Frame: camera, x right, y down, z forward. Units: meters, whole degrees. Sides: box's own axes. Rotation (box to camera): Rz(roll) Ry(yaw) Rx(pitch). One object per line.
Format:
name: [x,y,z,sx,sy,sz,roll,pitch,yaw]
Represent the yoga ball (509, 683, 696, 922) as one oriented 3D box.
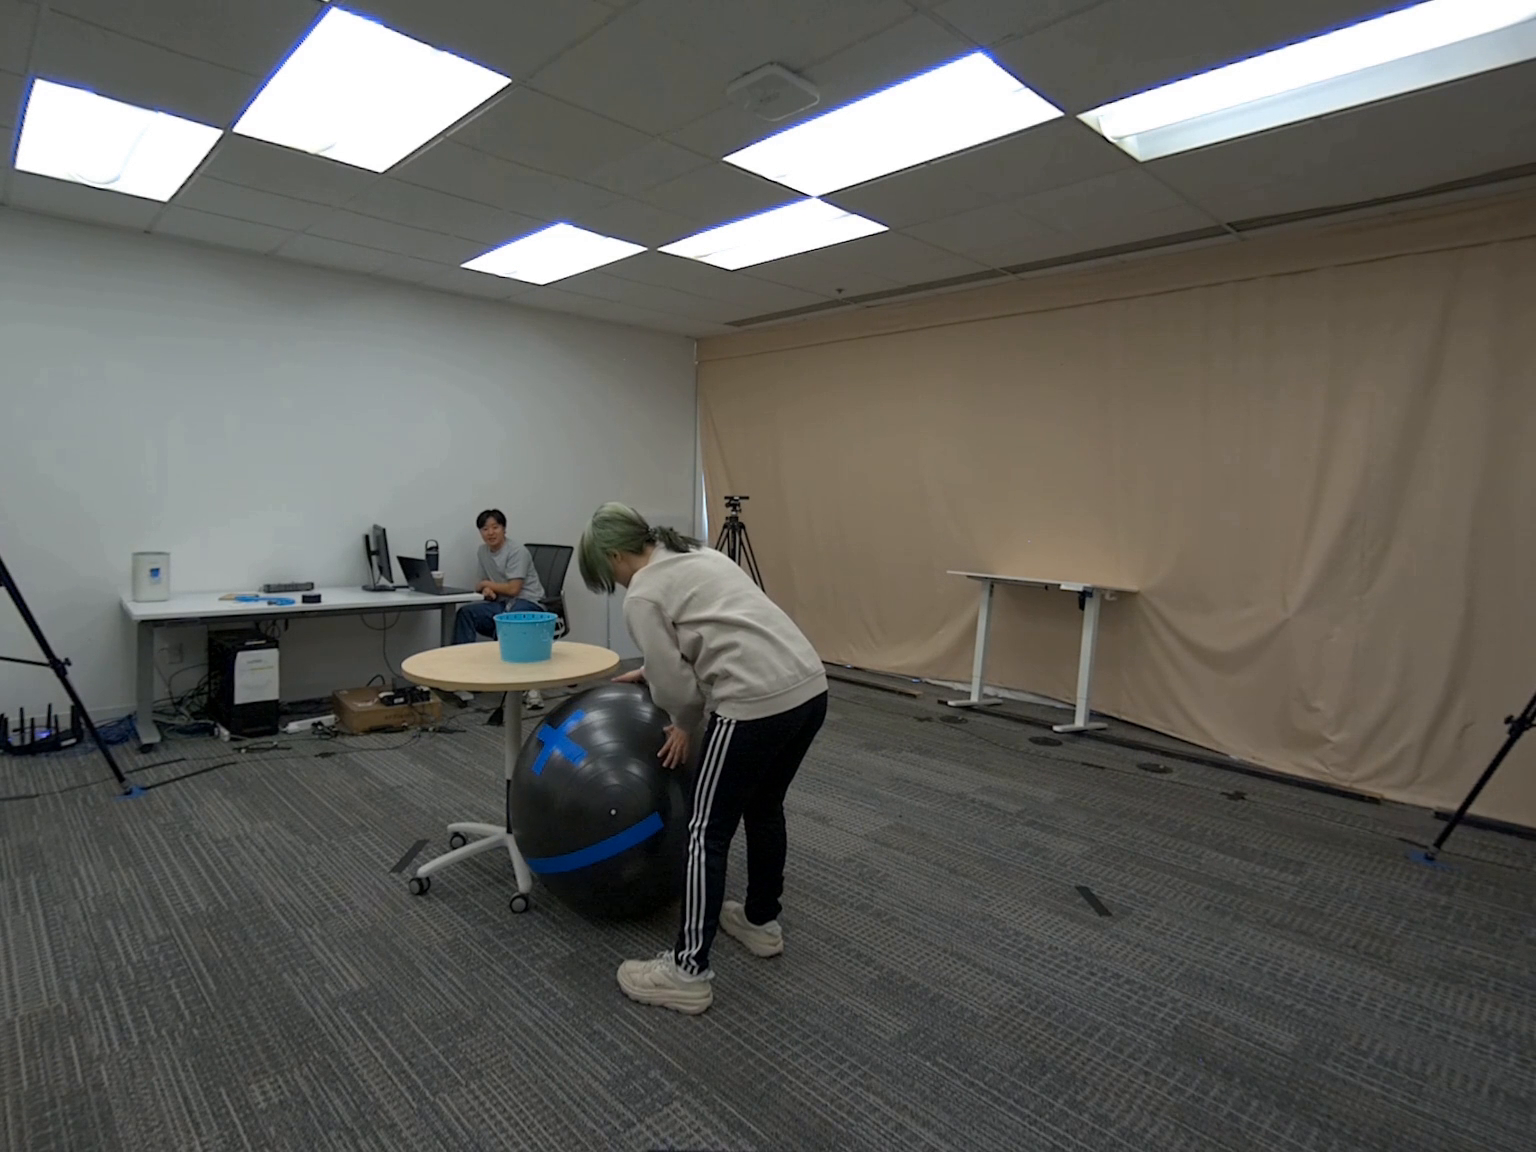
yoga ball: [-0.493,0.747,2.861,0.757,0.756,0.761,1,4,-1]
